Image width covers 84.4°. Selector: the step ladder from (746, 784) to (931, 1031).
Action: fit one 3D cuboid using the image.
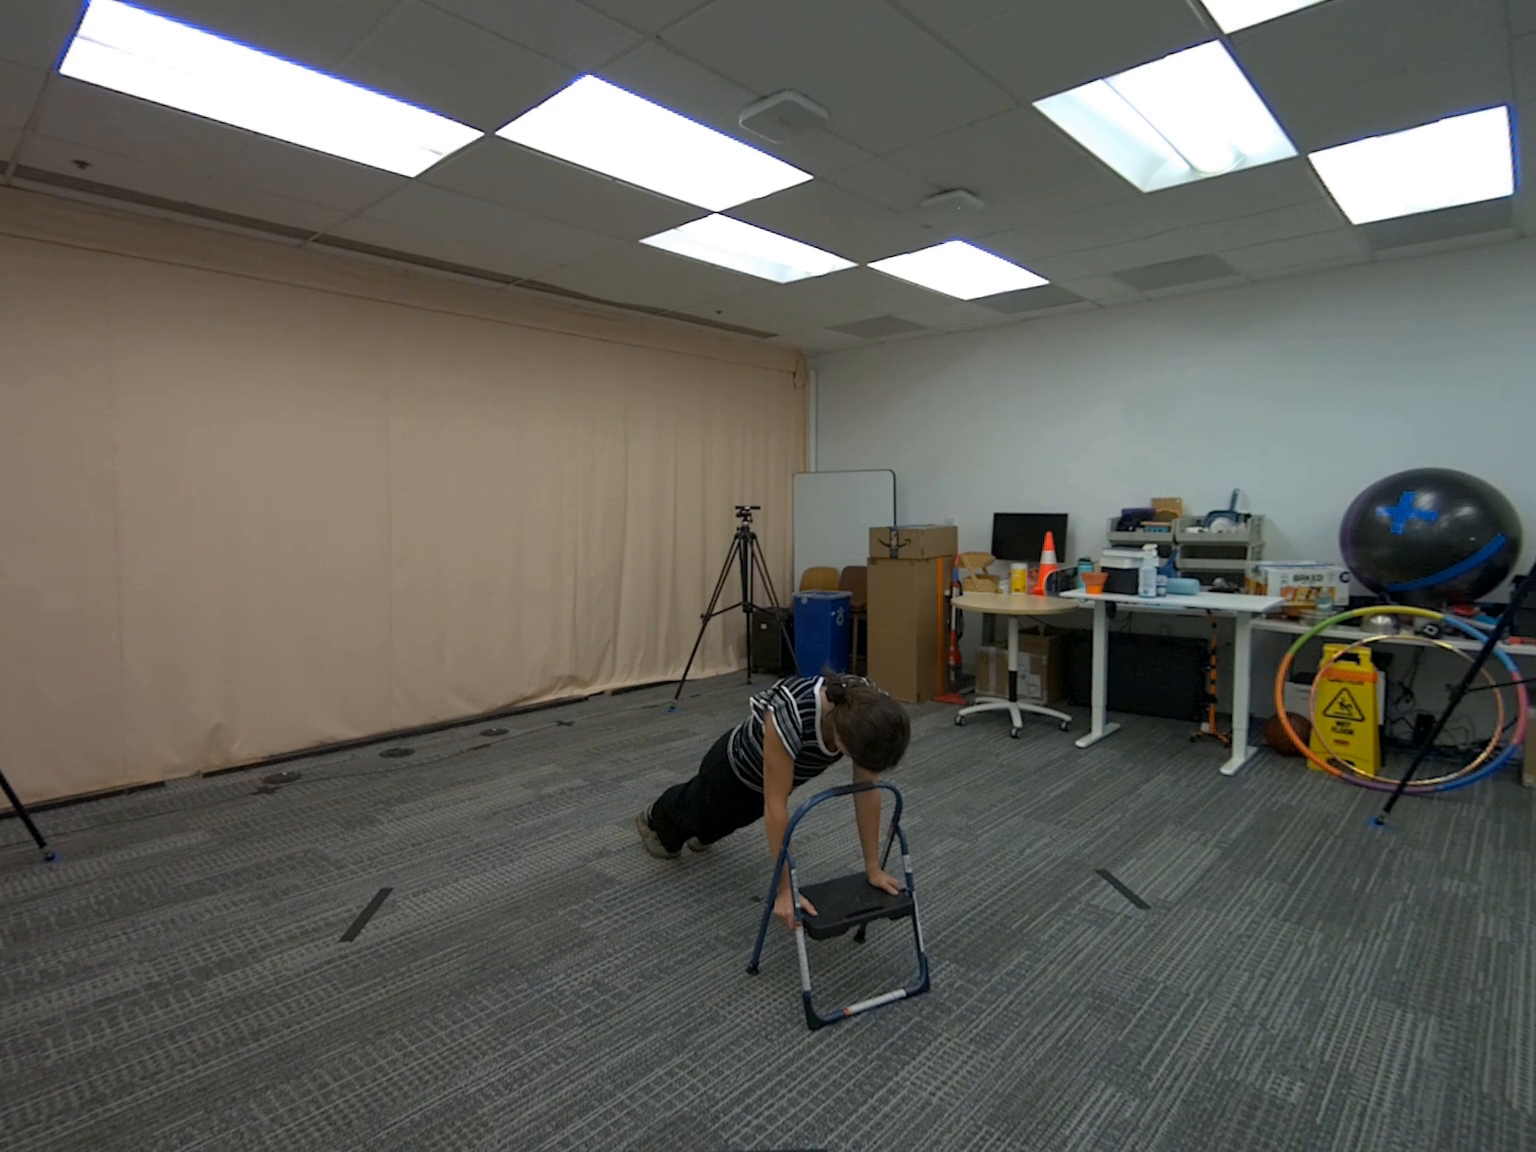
[{"bbox_3d":[0.211,0.888,2.453,0.419,0.604,0.359,-2,5,-30],"label":"step ladder"}]
